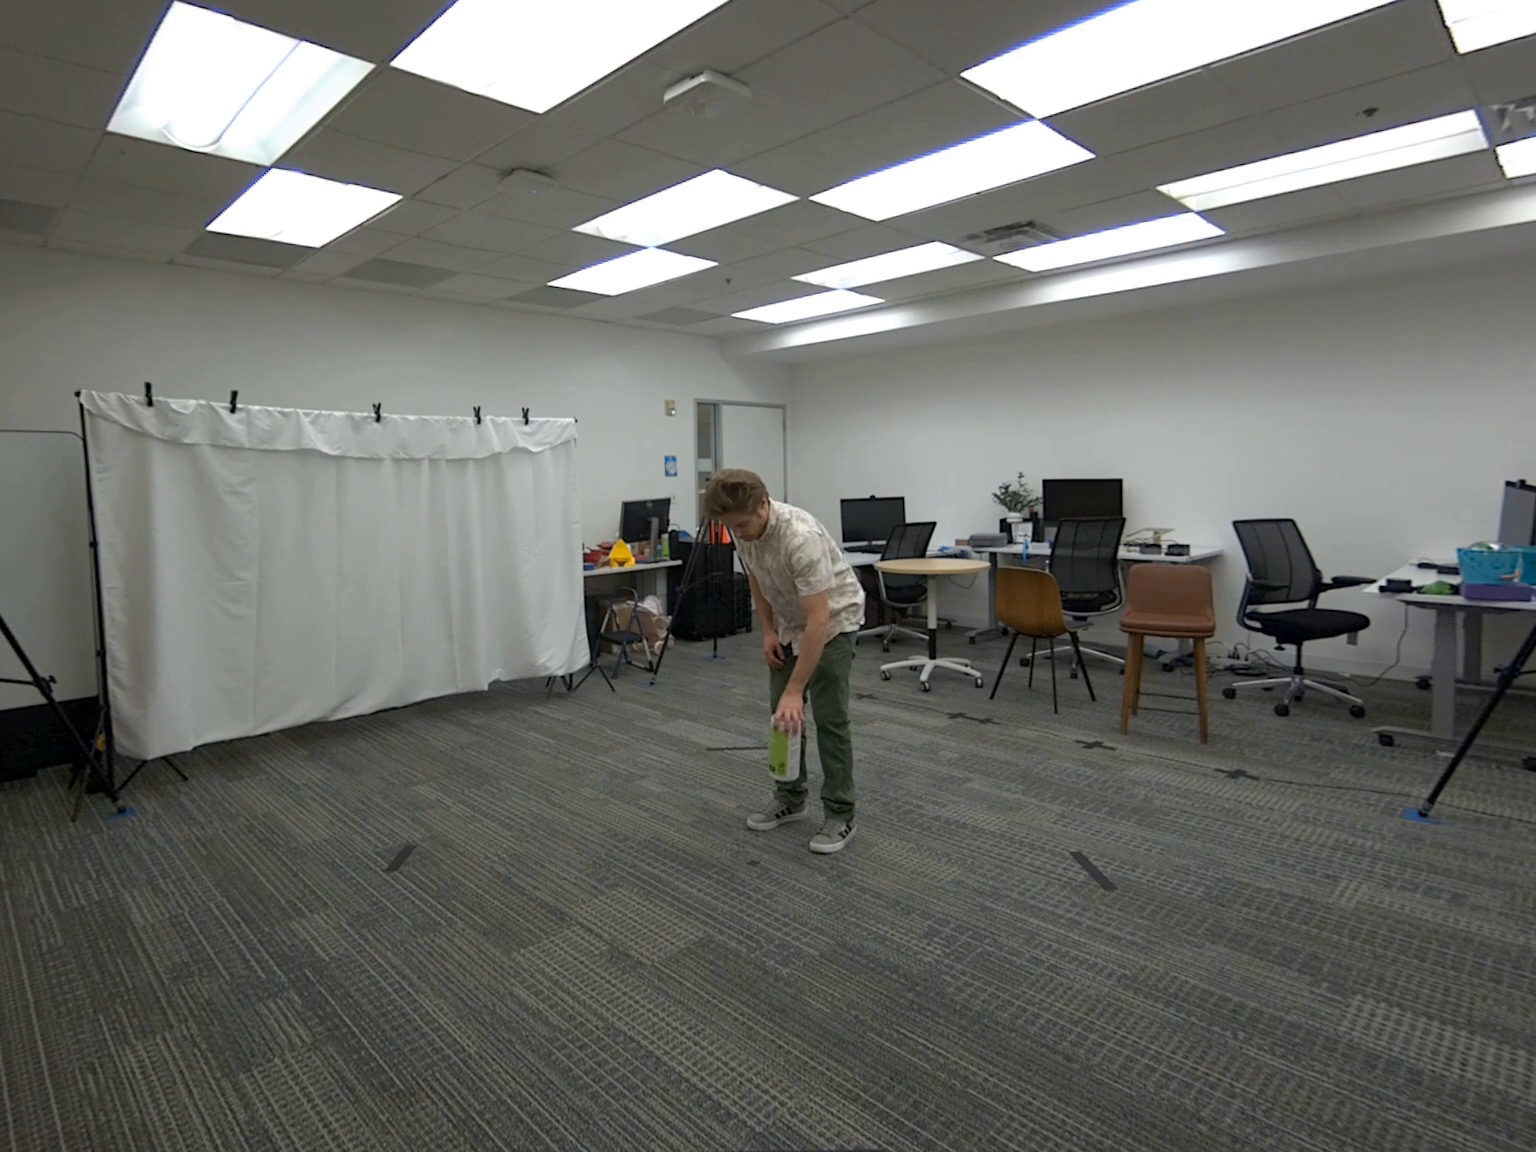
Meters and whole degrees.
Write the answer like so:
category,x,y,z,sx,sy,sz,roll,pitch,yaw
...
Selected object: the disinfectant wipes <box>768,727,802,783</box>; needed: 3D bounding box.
category,x,y,z,sx,sy,sz,roll,pitch,yaw
disinfectant wipes,0.063,0.611,3.027,0.118,0.216,0.119,0,9,-2
